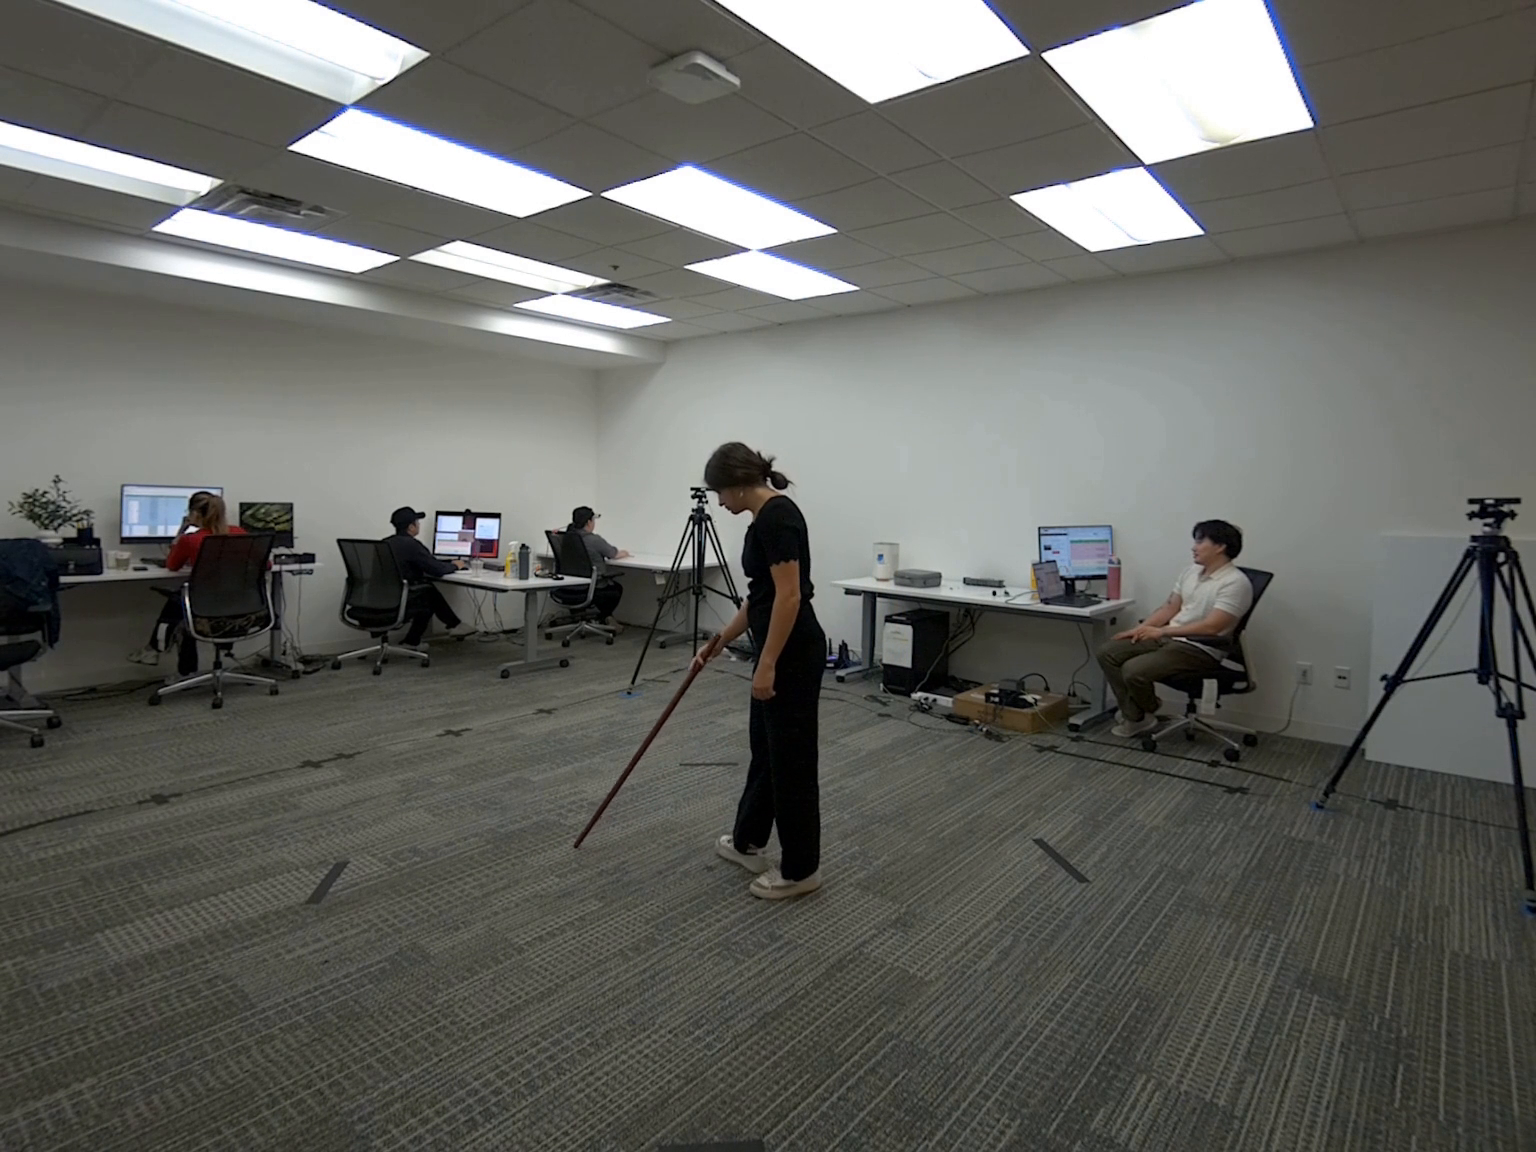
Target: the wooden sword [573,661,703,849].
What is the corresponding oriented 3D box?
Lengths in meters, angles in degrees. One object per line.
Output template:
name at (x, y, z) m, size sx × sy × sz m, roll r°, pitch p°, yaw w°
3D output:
wooden sword at (-0.485, 0.643, 3.169) m, size 0.053 × 1.022 × 0.023 m, roll 40°, pitch 13°, yaw 21°
